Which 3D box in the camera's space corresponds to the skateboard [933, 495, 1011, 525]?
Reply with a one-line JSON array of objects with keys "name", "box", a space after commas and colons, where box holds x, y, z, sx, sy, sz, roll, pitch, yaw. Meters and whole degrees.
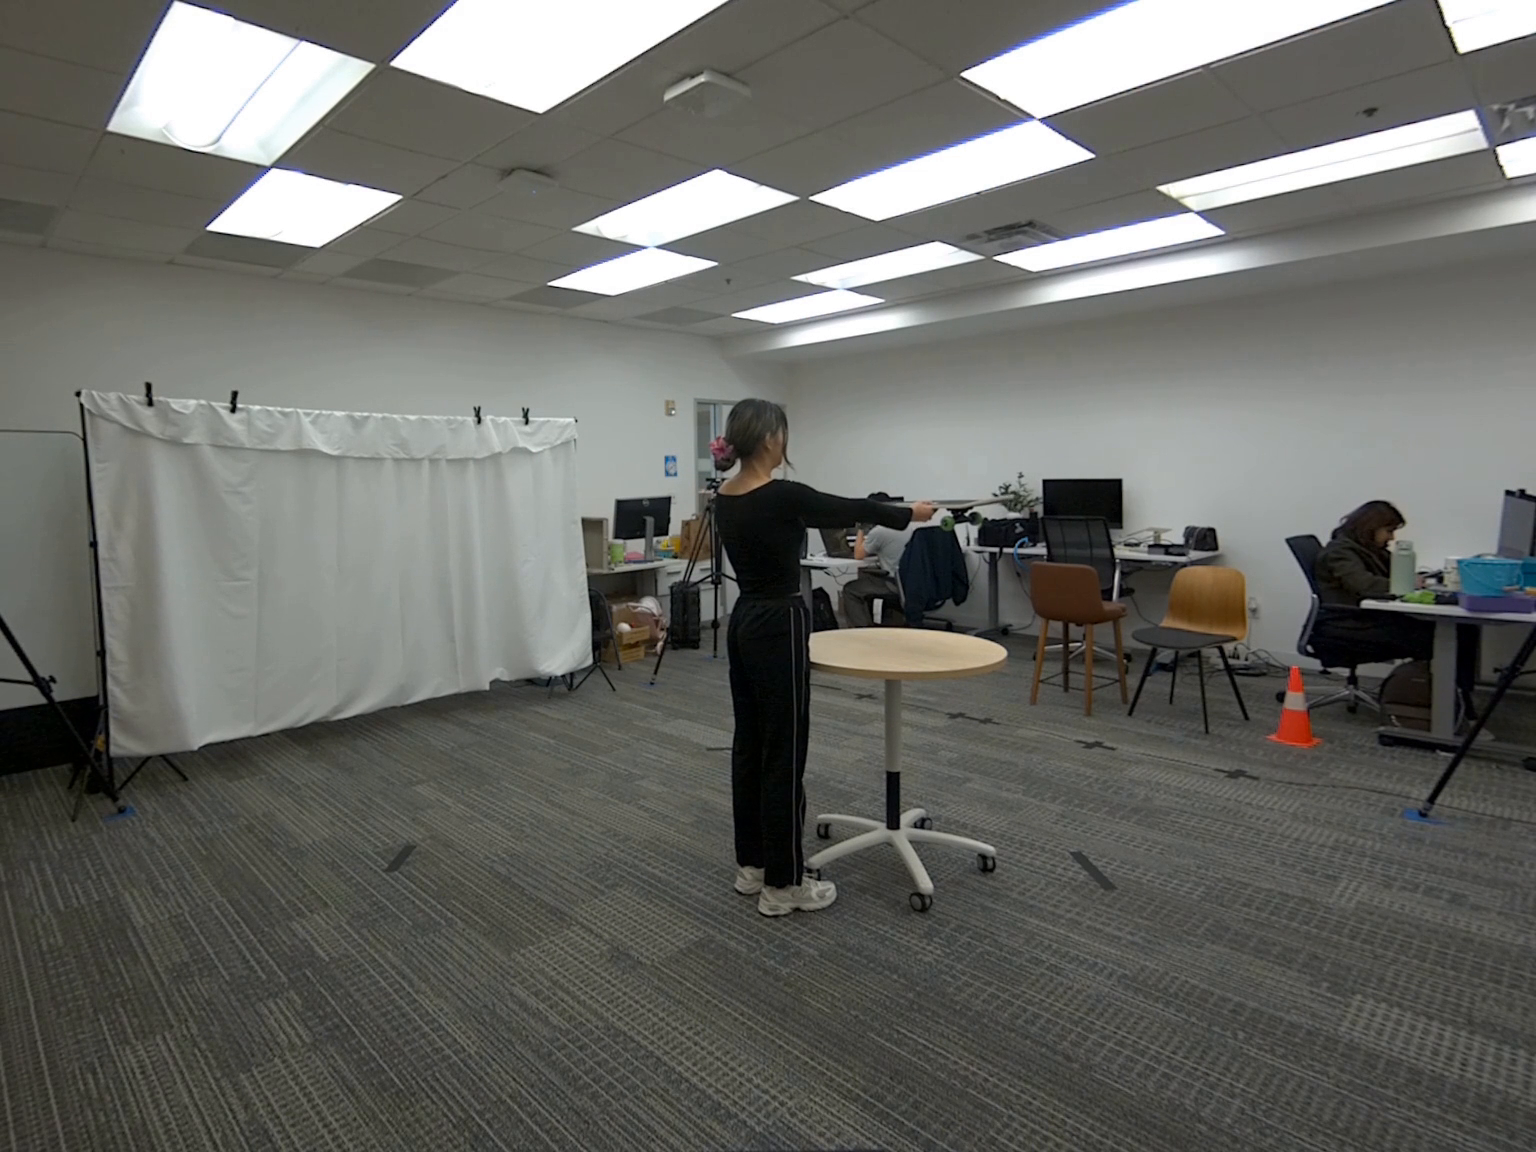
[{"name": "skateboard", "box": [0.548, -0.231, 3.129, 0.189, 0.110, 0.809, -8, 8, -38]}]
